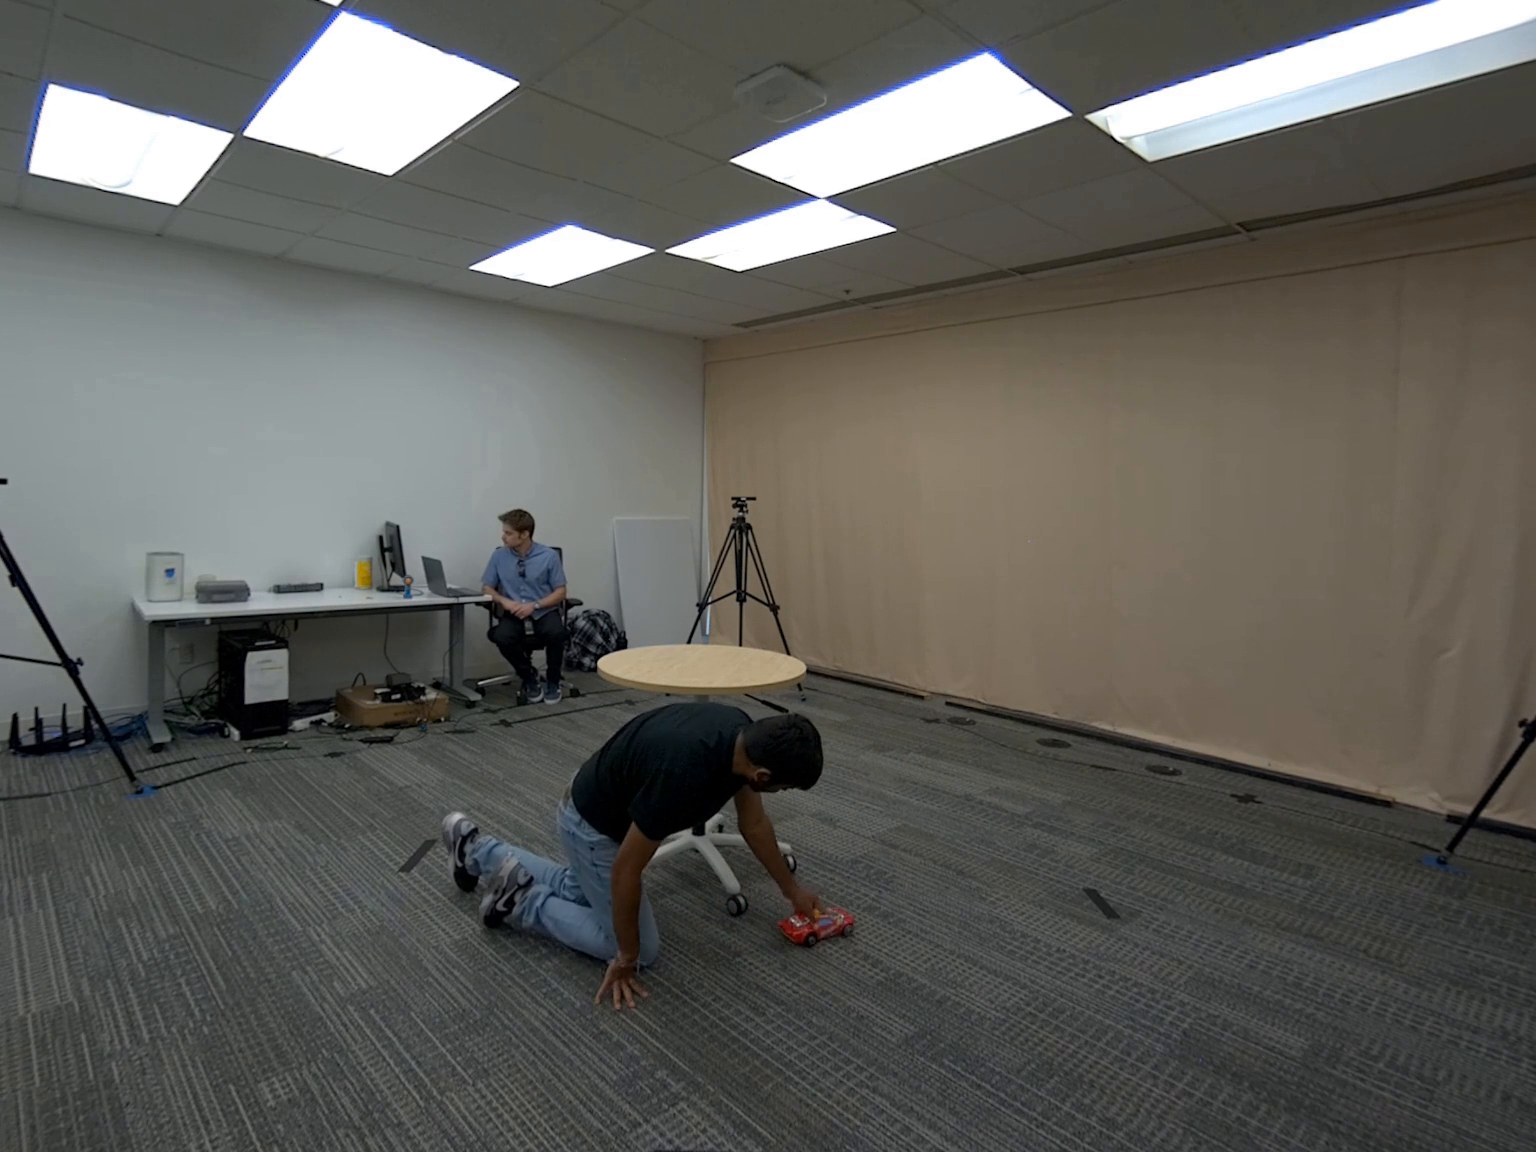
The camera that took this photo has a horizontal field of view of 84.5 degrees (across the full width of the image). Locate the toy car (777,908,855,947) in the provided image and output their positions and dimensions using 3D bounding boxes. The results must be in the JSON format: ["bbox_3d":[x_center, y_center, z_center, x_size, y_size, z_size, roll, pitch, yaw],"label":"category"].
[{"bbox_3d":[0.145,1.115,2.689,0.249,0.083,0.133,10,0,-29],"label":"toy car"}]
